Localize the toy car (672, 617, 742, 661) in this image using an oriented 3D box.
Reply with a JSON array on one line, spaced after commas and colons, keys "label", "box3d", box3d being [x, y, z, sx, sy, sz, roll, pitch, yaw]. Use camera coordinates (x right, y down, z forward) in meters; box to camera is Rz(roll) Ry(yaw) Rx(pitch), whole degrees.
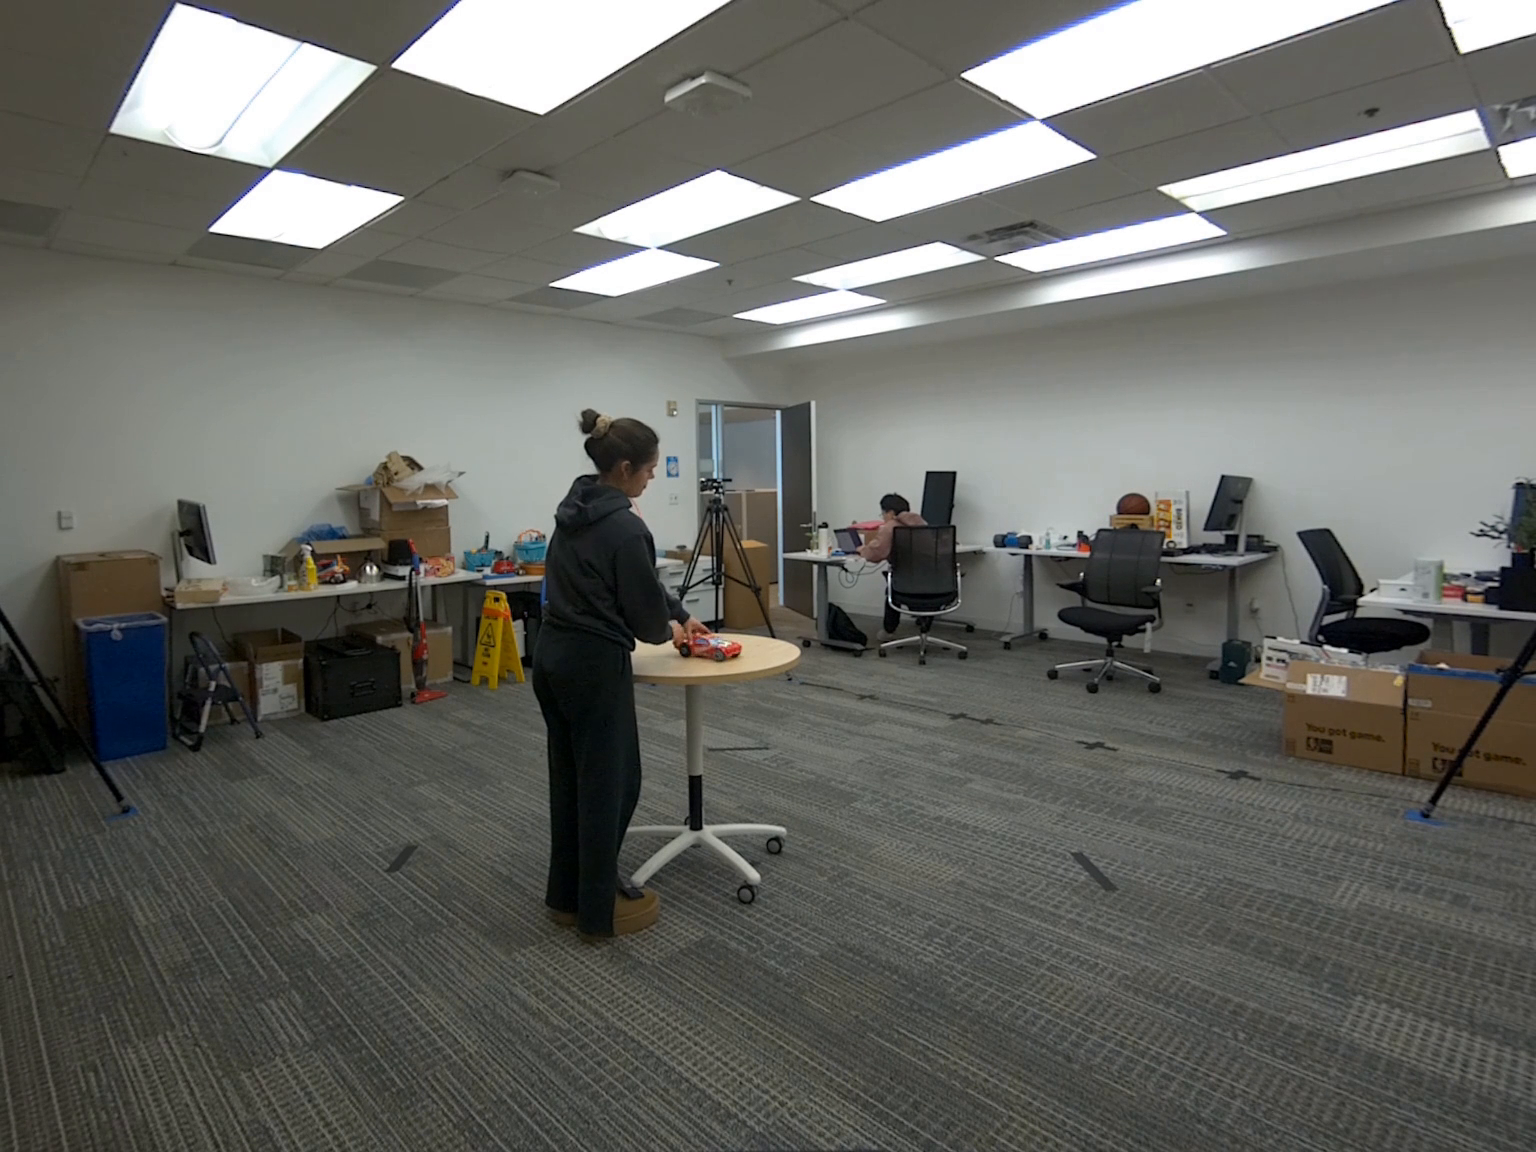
[{"label": "toy car", "box3d": [-0.215, 0.251, 2.963, 0.263, 0.082, 0.127, 15, 13, 33]}]
